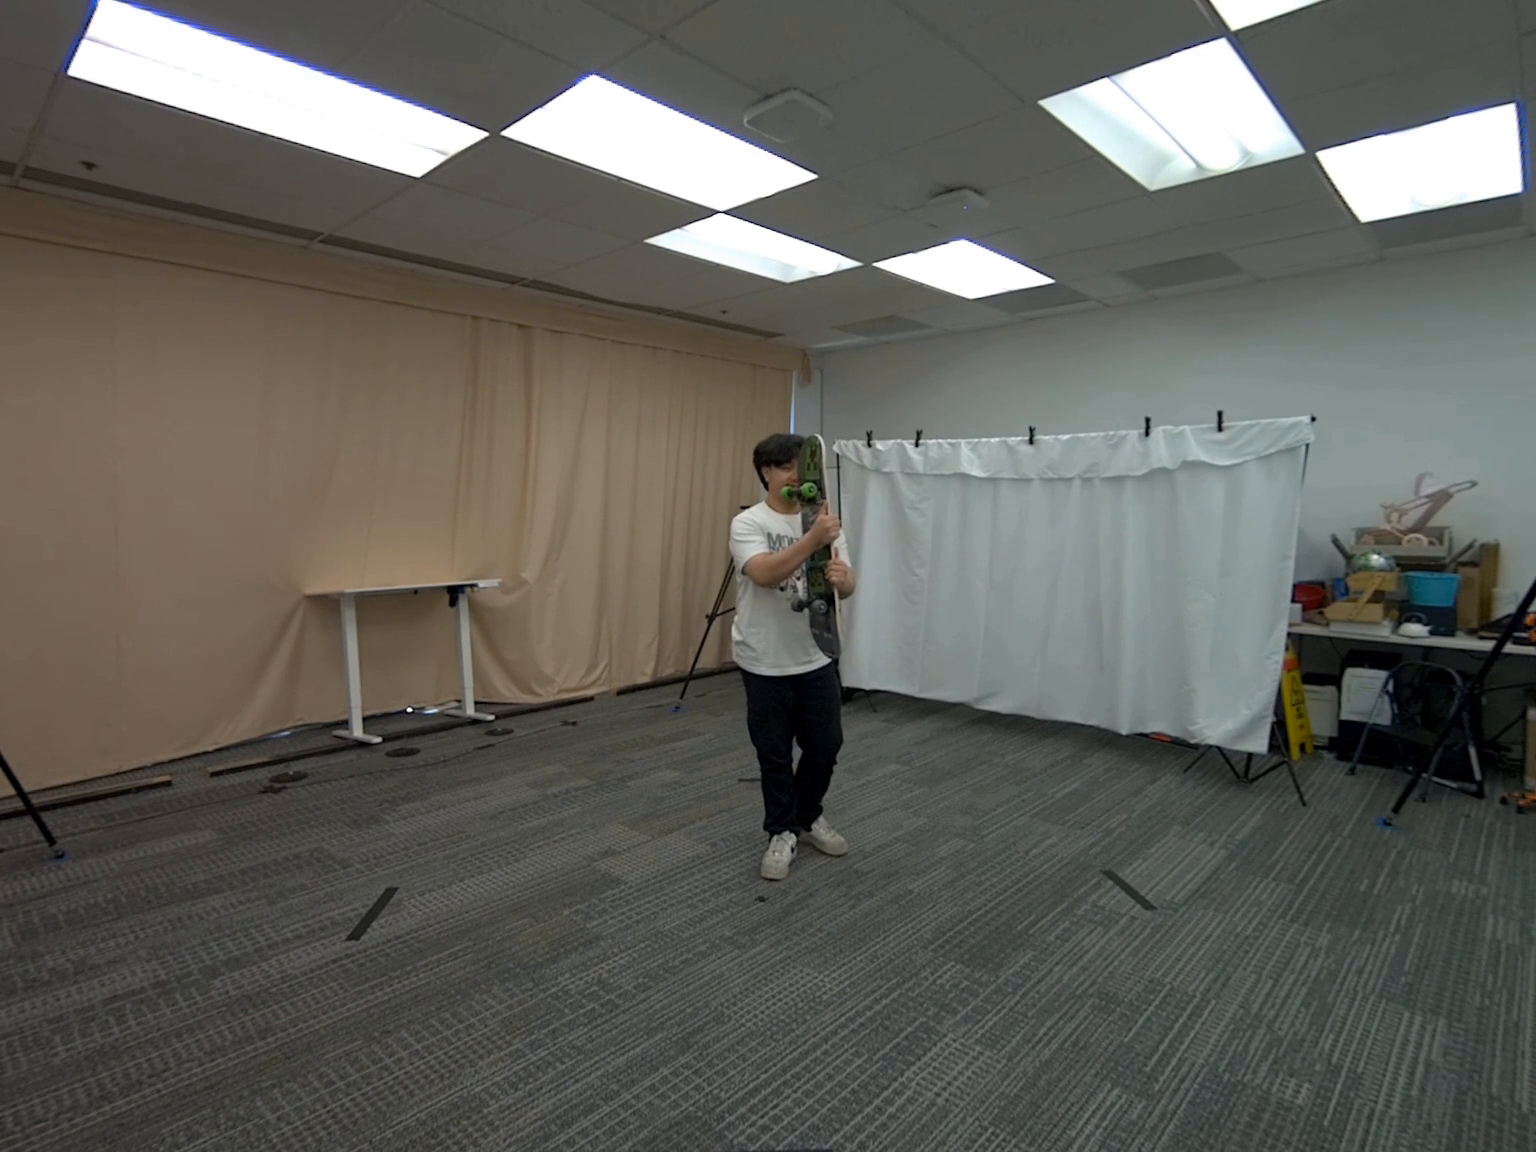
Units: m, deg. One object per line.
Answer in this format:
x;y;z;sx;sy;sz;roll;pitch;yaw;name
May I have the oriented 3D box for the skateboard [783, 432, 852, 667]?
0.156;-0.091;2.934;0.108;0.785;0.197;-6;1;-22;skateboard
